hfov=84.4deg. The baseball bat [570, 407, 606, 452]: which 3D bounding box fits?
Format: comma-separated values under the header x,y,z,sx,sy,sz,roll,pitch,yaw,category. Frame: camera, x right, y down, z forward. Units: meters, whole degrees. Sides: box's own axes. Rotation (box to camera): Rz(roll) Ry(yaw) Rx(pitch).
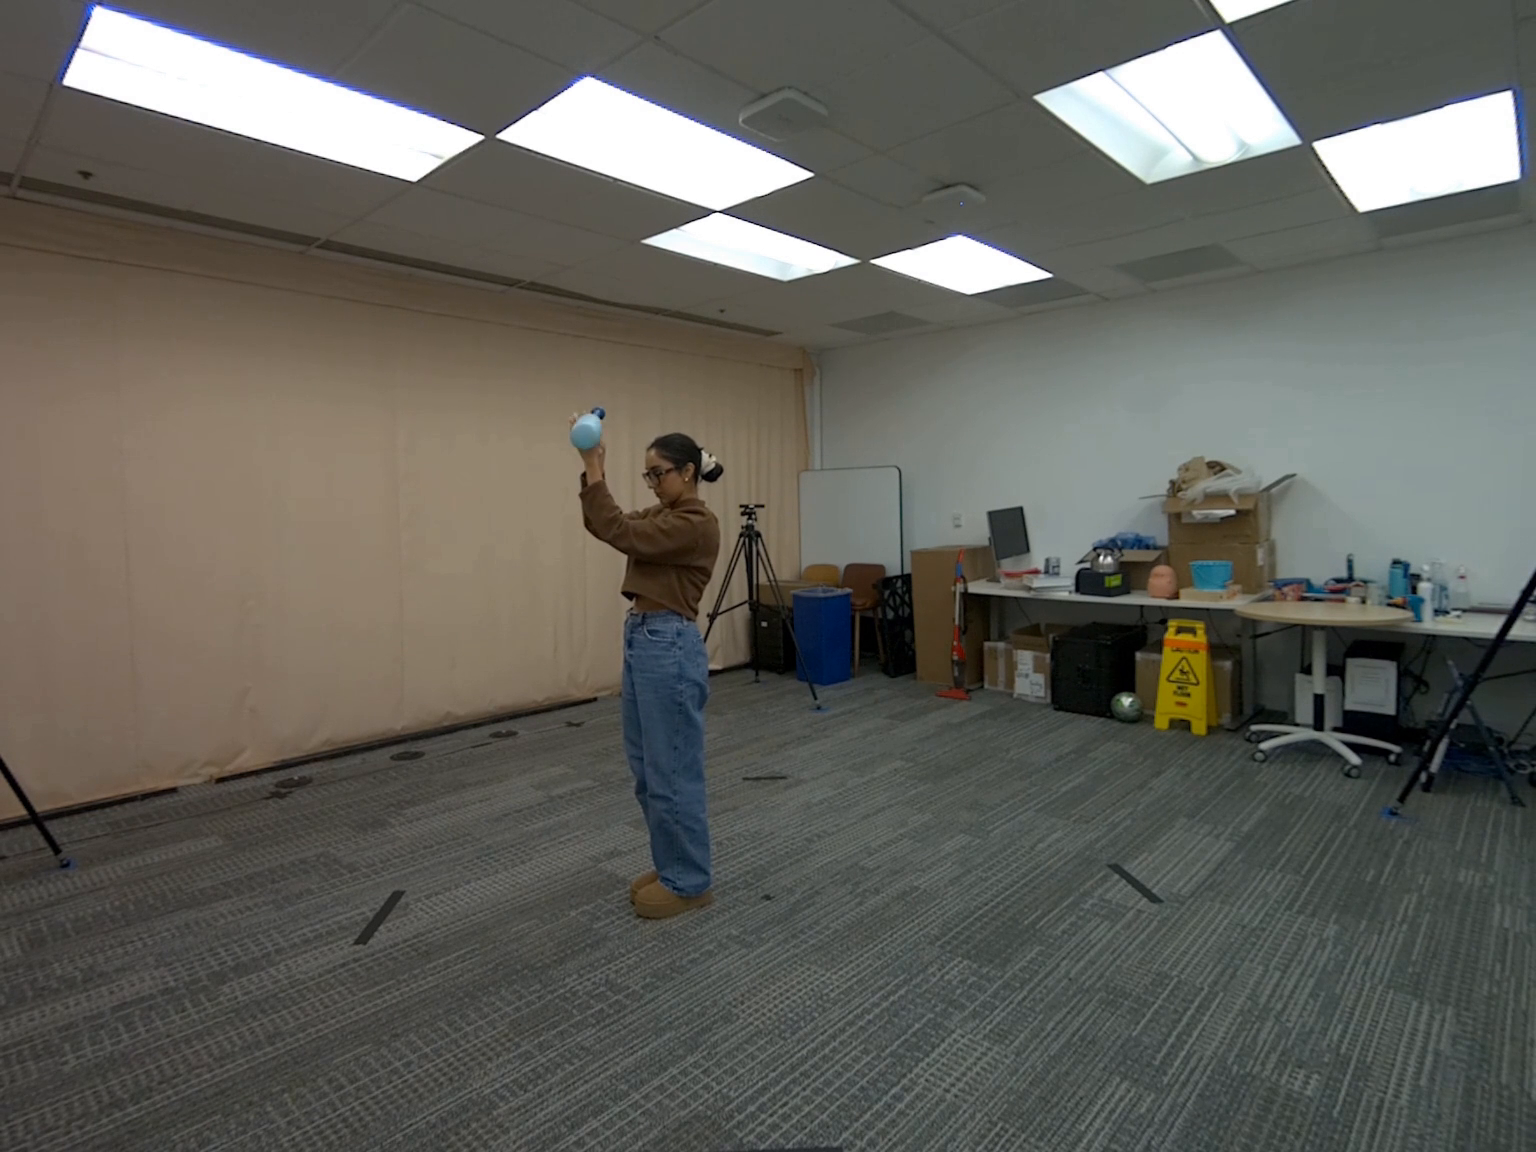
x,y,z,sx,sy,sz,roll,pitch,yaw,category
-0.576,-0.502,2.741,0.088,0.088,0.552,-2,19,-7,baseball bat
